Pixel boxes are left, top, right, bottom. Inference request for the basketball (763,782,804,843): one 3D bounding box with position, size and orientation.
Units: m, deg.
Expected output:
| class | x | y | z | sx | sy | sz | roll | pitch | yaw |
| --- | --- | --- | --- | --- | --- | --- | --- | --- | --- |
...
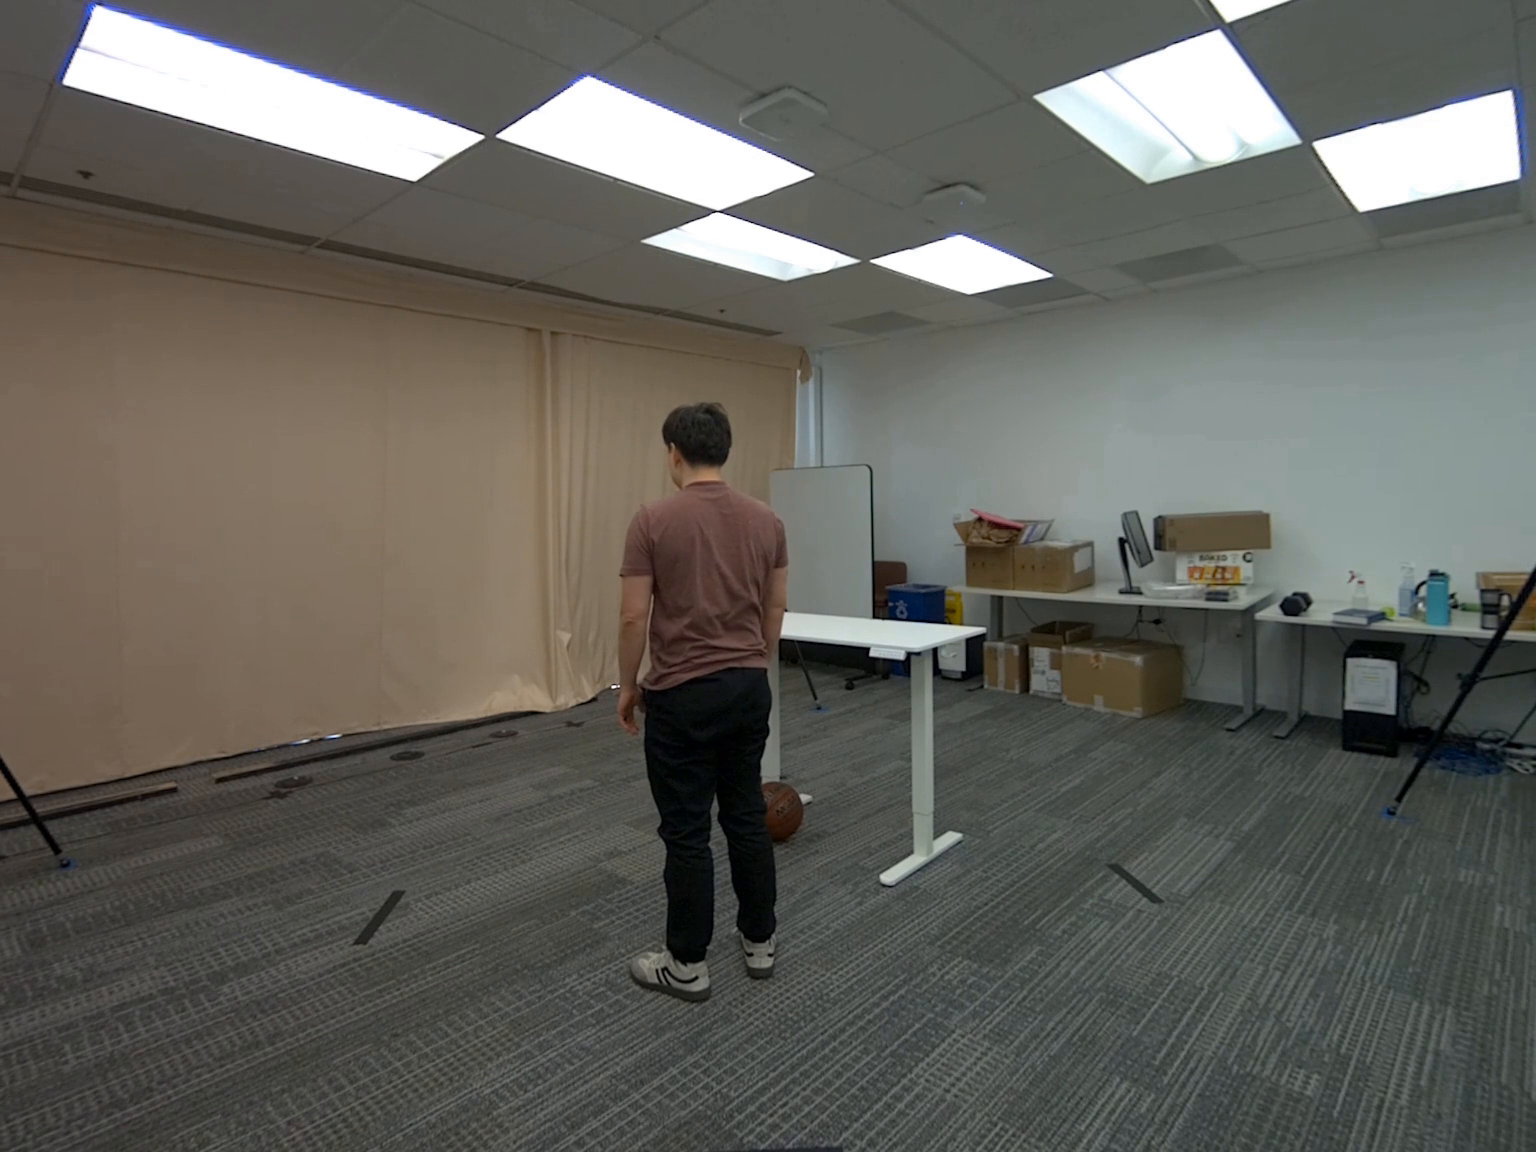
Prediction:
| class | x | y | z | sx | sy | sz | roll | pitch | yaw |
| --- | --- | --- | --- | --- | --- | --- | --- | --- | --- |
| basketball | 0.030 | 0.980 | 3.496 | 0.236 | 0.235 | 0.237 | -1 | 4 | -2 |
